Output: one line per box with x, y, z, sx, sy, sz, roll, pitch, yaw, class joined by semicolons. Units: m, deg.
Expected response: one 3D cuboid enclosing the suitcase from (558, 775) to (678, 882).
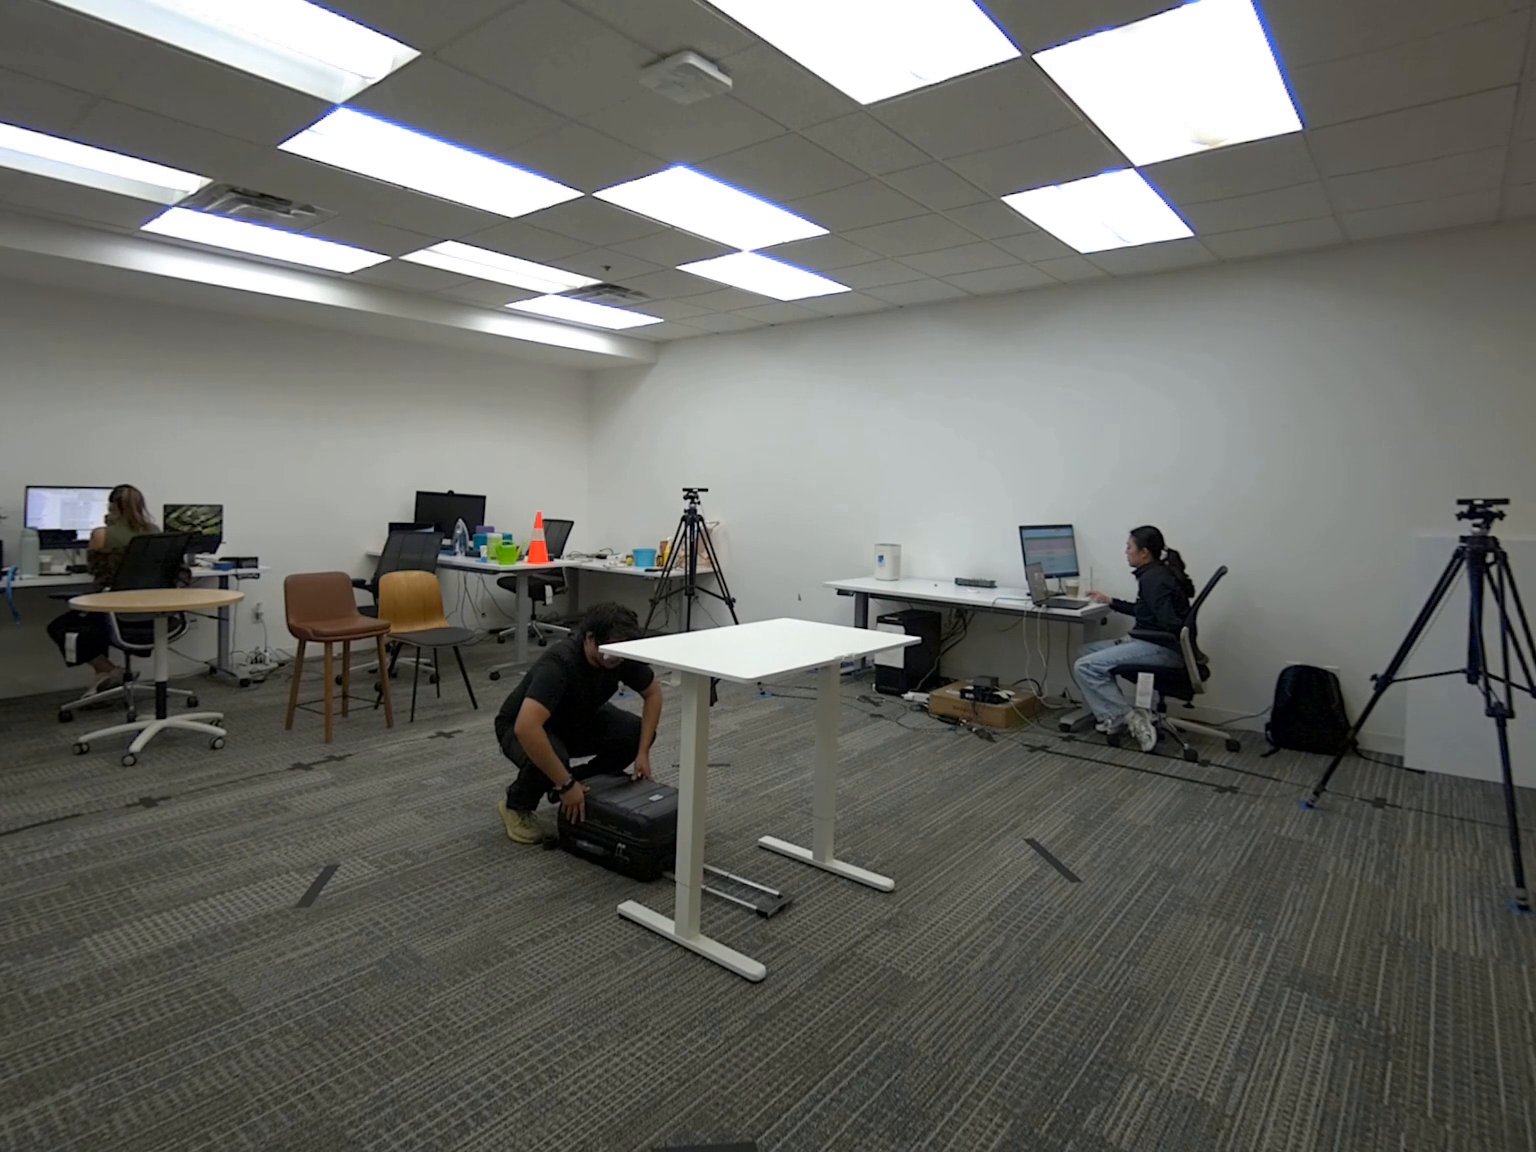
-0.367;0.945;3.095;1.010;0.257;0.372;3;2;37;suitcase
